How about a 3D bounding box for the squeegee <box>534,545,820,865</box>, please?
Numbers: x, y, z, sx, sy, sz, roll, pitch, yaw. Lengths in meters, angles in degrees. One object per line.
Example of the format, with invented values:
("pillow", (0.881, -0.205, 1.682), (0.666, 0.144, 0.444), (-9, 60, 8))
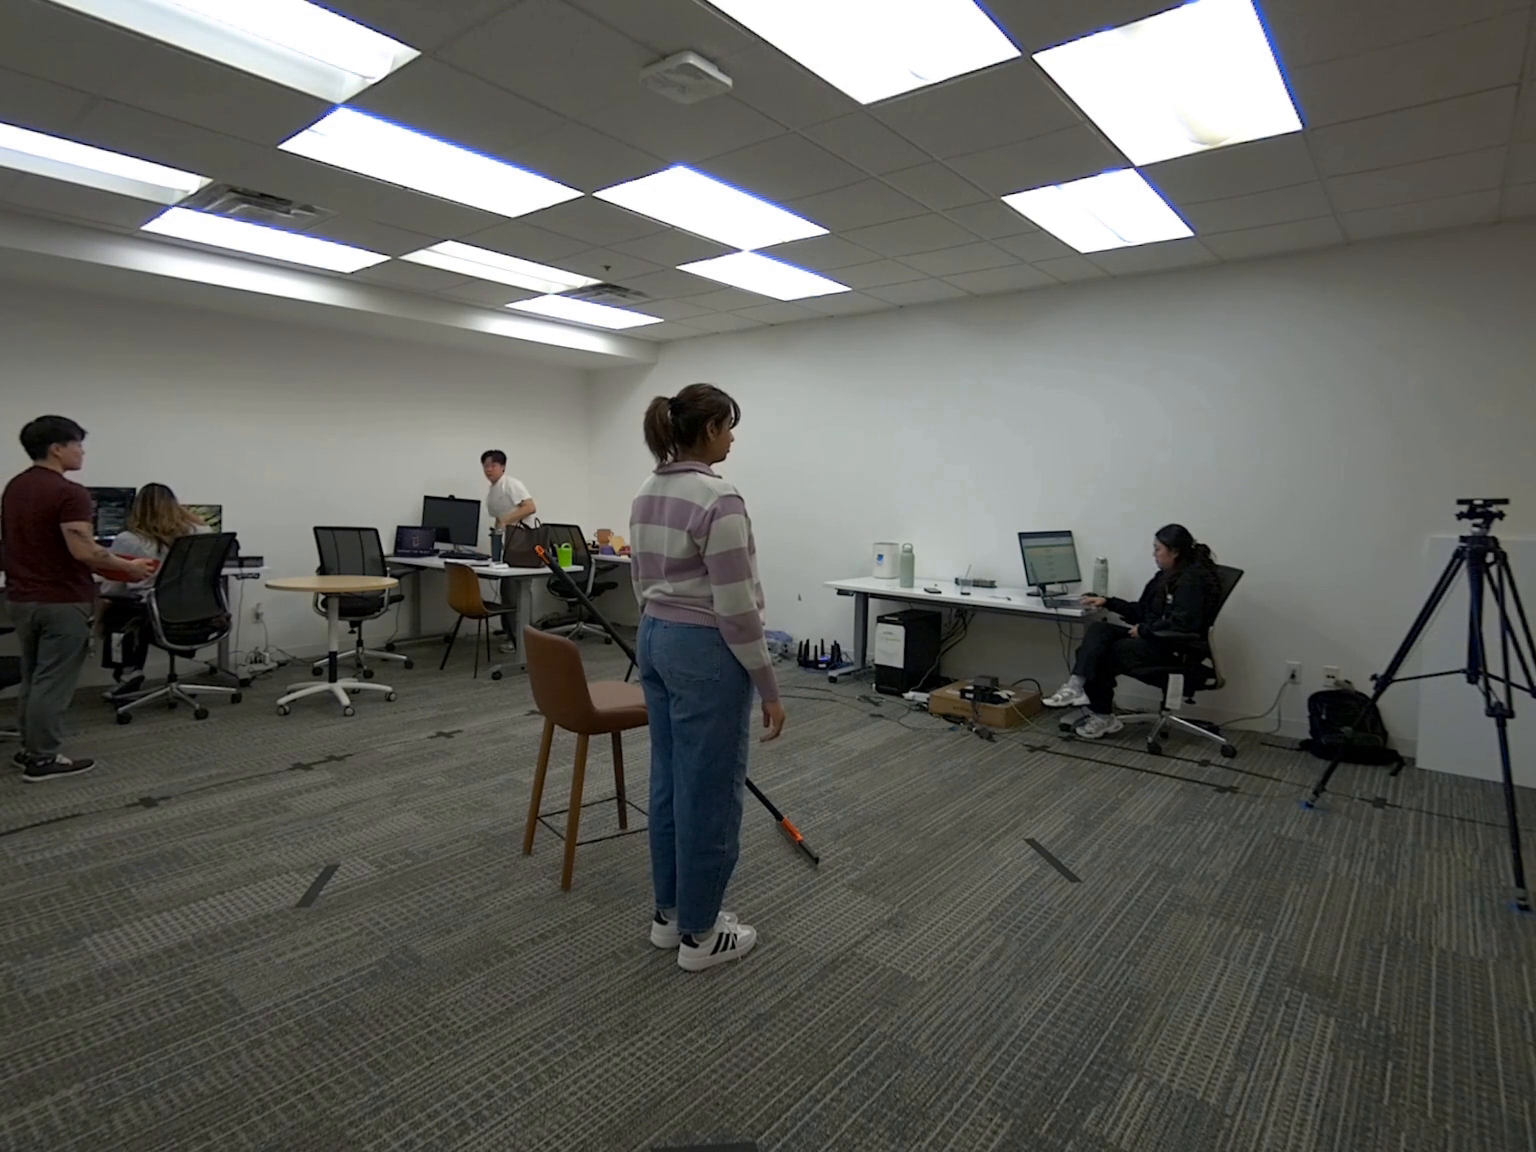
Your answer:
("squeegee", (-0.348, 0.463, 3.159), (0.053, 1.512, 0.445), (-42, 12, -11))
